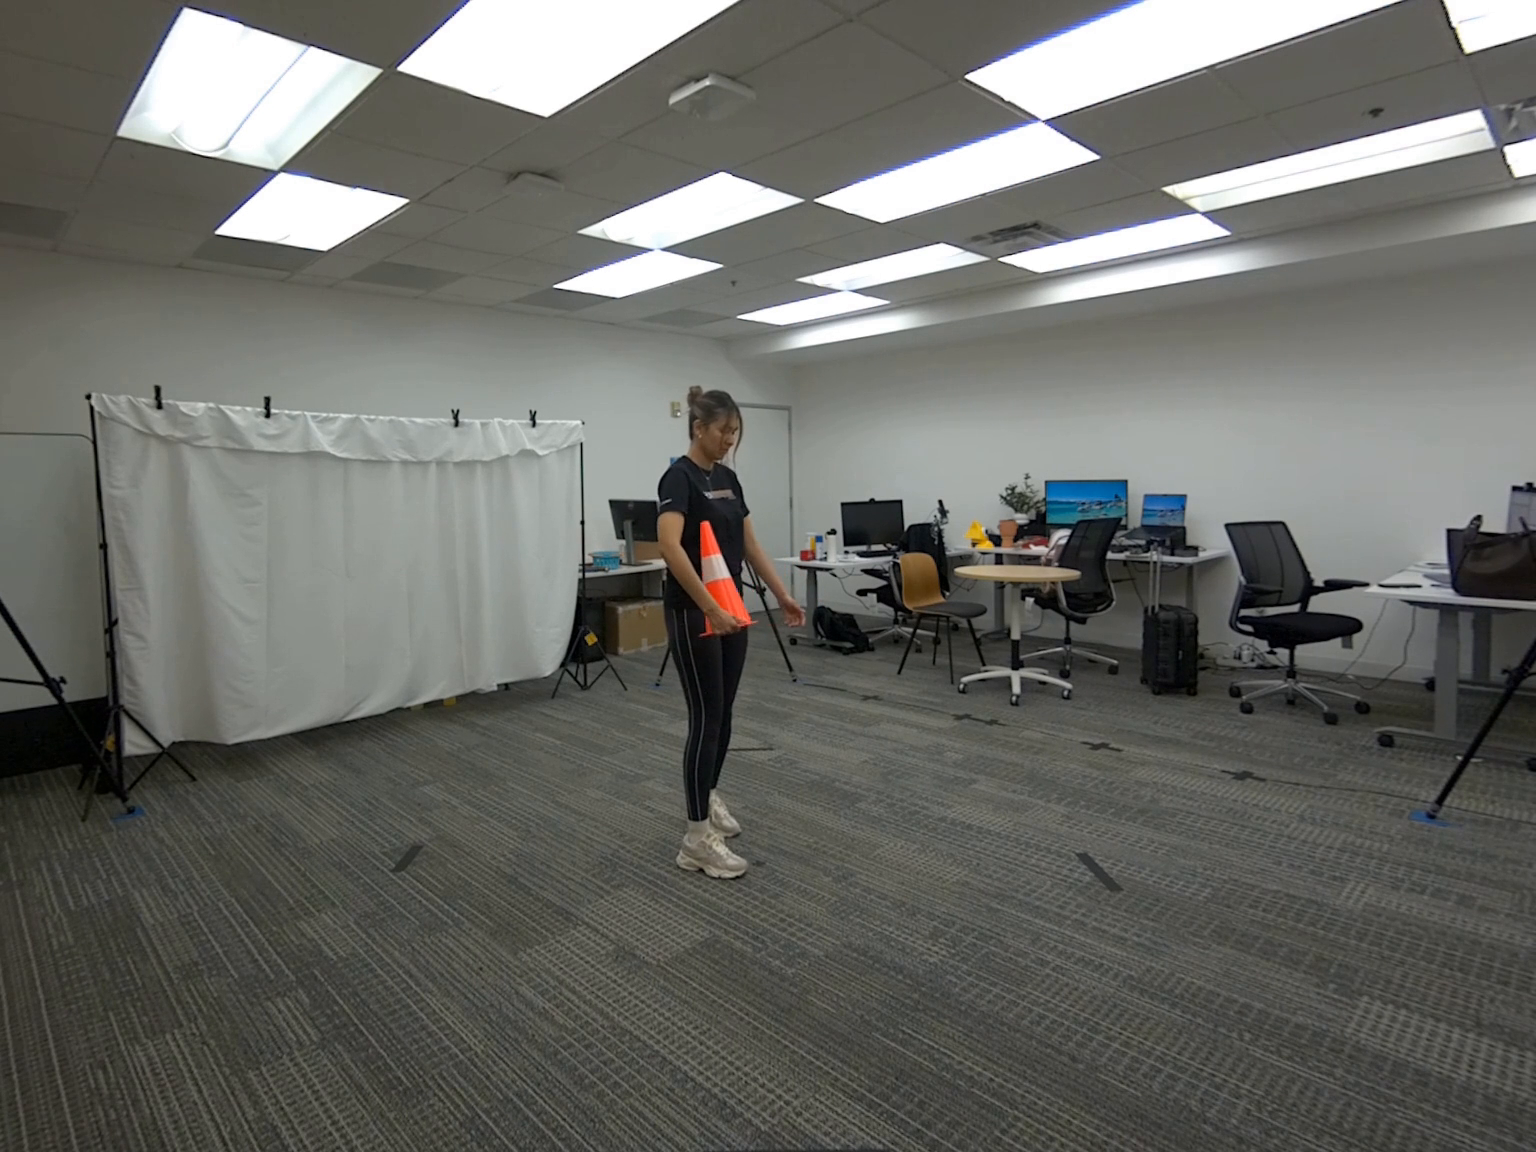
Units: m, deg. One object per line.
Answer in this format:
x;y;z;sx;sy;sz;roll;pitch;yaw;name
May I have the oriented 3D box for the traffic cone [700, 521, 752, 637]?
-0.187;0.001;2.961;0.208;0.387;0.198;-20;-10;37;traffic cone
